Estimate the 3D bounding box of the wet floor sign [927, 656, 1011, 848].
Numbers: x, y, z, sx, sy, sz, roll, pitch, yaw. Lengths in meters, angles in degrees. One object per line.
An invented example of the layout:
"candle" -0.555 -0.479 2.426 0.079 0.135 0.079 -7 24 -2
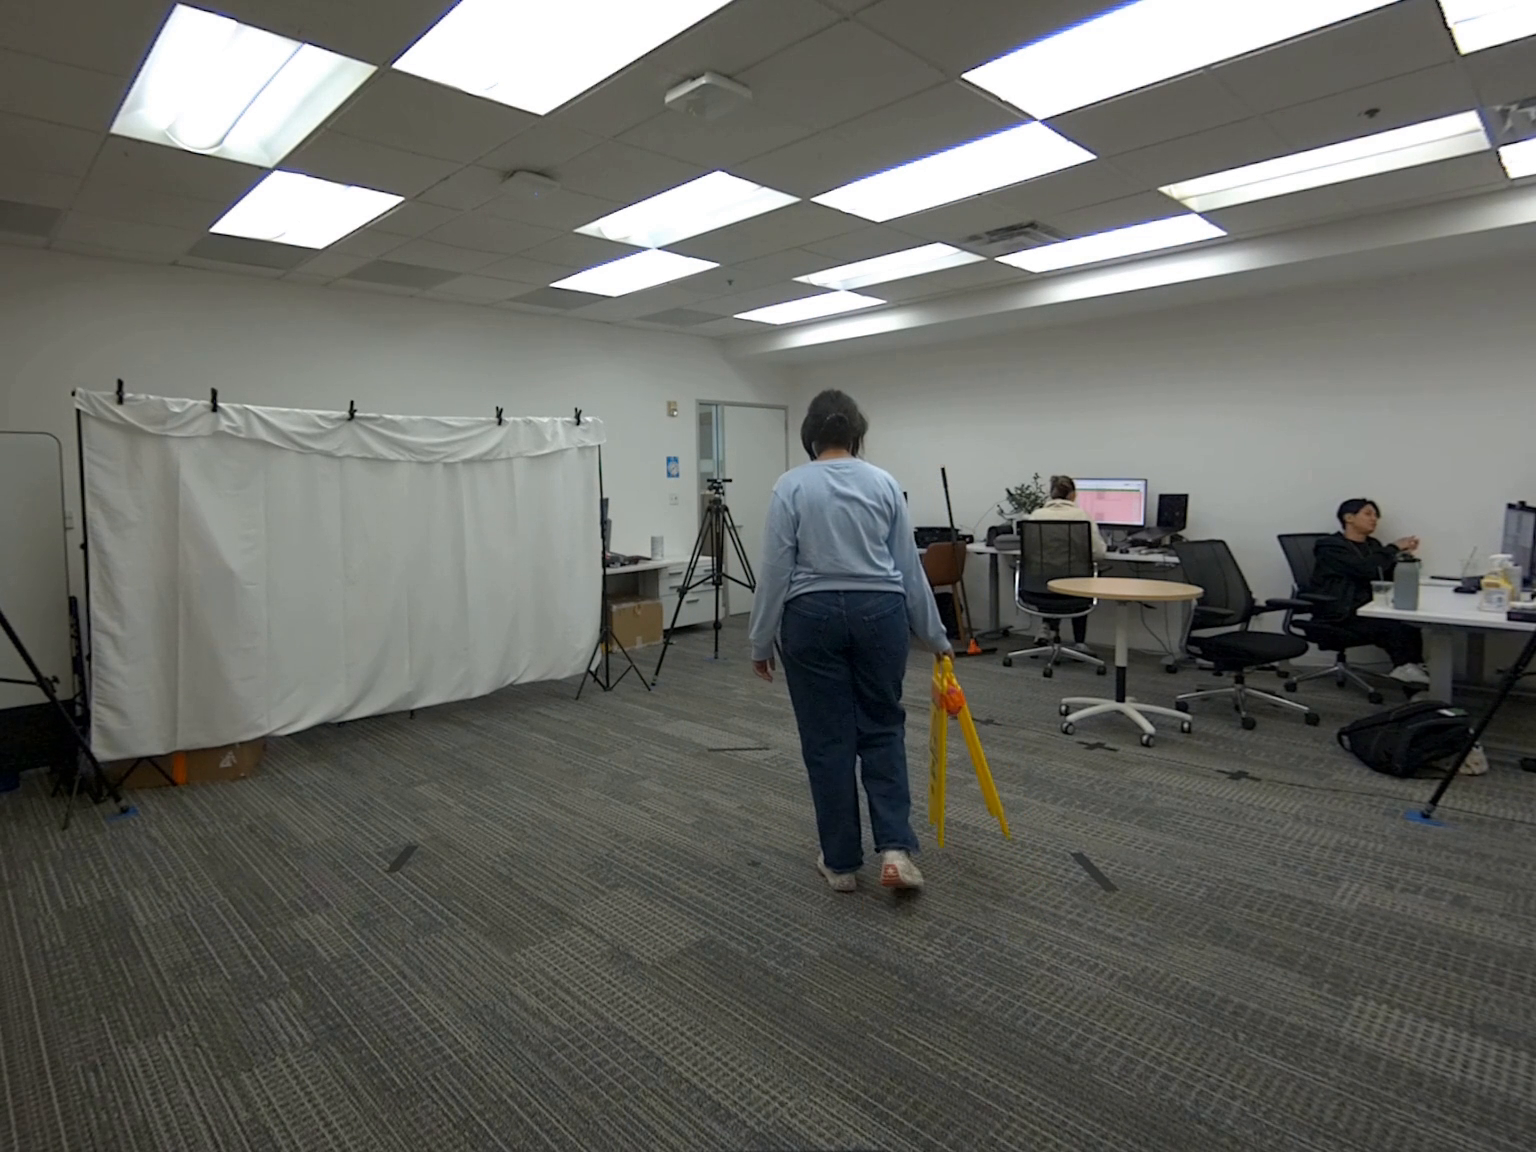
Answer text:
"wet floor sign" 0.675 0.595 3.055 0.291 0.643 0.283 -8 5 3
